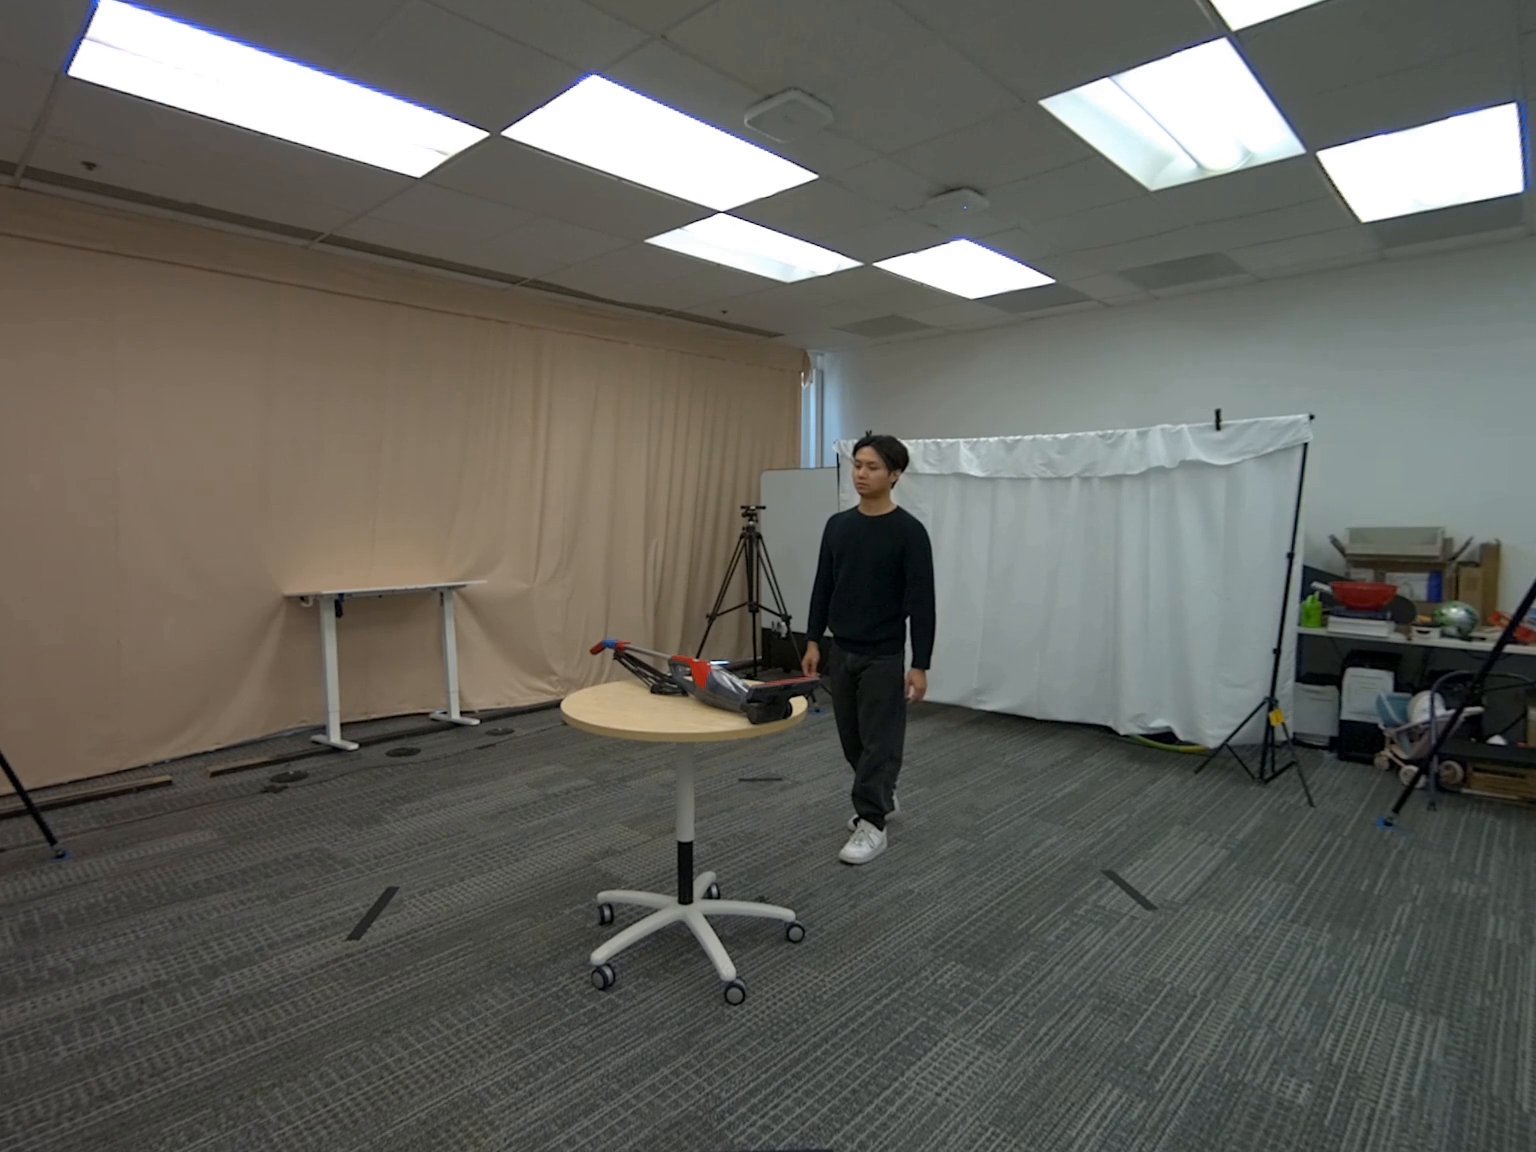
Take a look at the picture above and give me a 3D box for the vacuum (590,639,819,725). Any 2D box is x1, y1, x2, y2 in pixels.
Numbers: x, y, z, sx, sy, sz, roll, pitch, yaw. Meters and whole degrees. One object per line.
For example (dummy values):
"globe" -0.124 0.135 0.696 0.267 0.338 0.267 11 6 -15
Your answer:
"vacuum" -0.306 0.331 2.749 0.245 0.144 1.084 -2 4 -40
